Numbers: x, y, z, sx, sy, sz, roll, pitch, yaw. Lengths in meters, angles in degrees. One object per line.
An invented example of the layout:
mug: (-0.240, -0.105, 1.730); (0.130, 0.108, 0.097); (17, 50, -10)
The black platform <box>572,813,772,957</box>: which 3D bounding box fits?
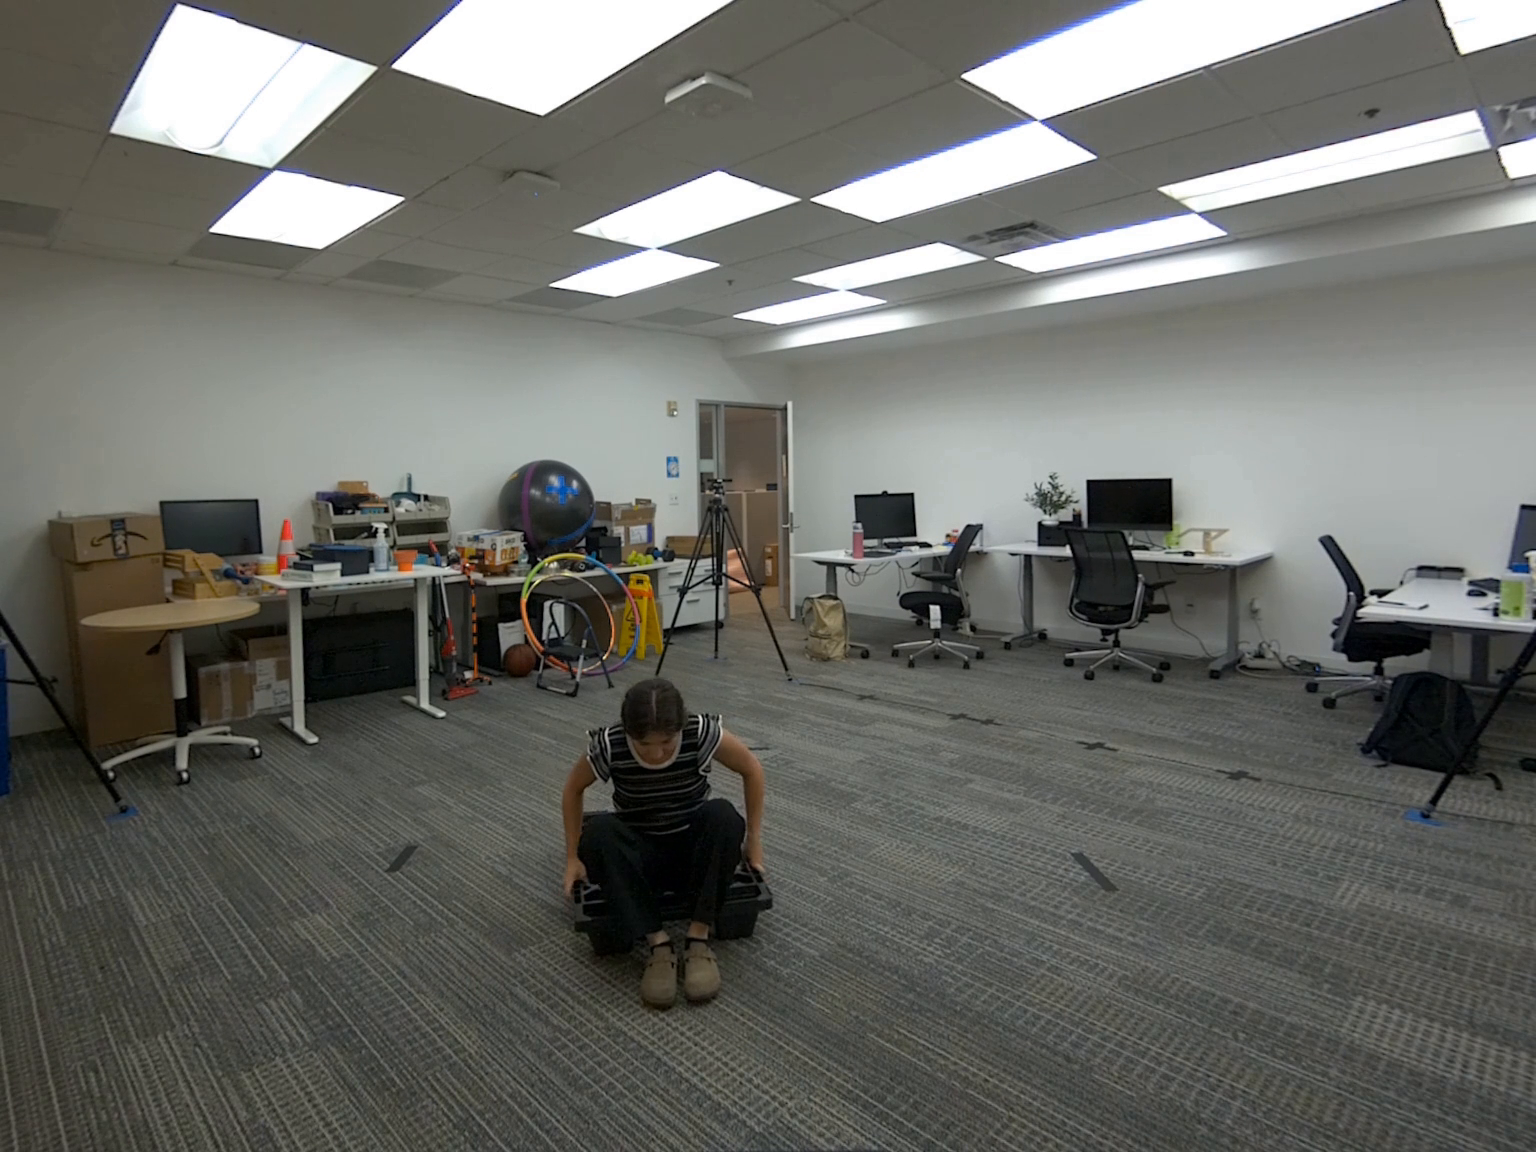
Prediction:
black platform: (-0.365, 1.006, 2.915); (0.598, 0.142, 0.819); (-4, 8, -13)
